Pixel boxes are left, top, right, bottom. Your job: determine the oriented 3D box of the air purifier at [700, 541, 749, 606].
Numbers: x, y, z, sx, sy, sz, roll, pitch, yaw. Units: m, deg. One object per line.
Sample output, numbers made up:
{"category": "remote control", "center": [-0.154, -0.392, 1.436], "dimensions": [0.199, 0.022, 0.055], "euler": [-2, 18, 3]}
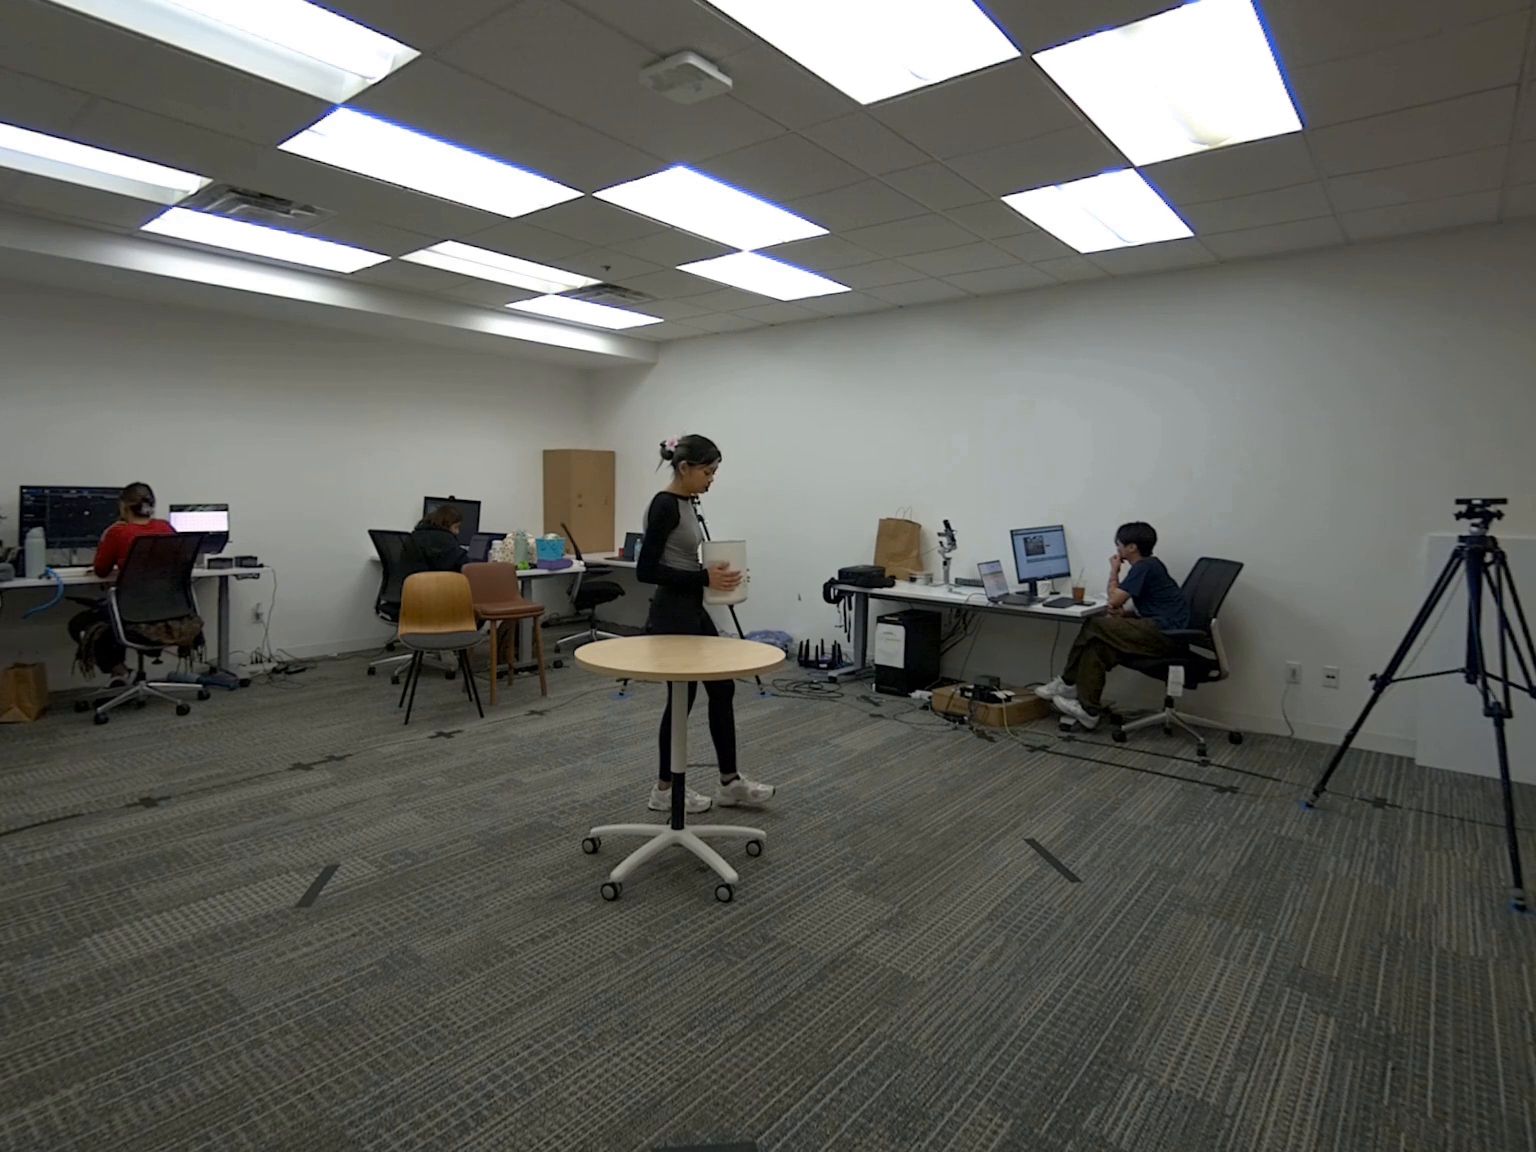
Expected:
{"category": "air purifier", "center": [-0.198, -0.019, 3.615], "dimensions": [0.172, 0.265, 0.170], "euler": [-2, 2, 7]}
